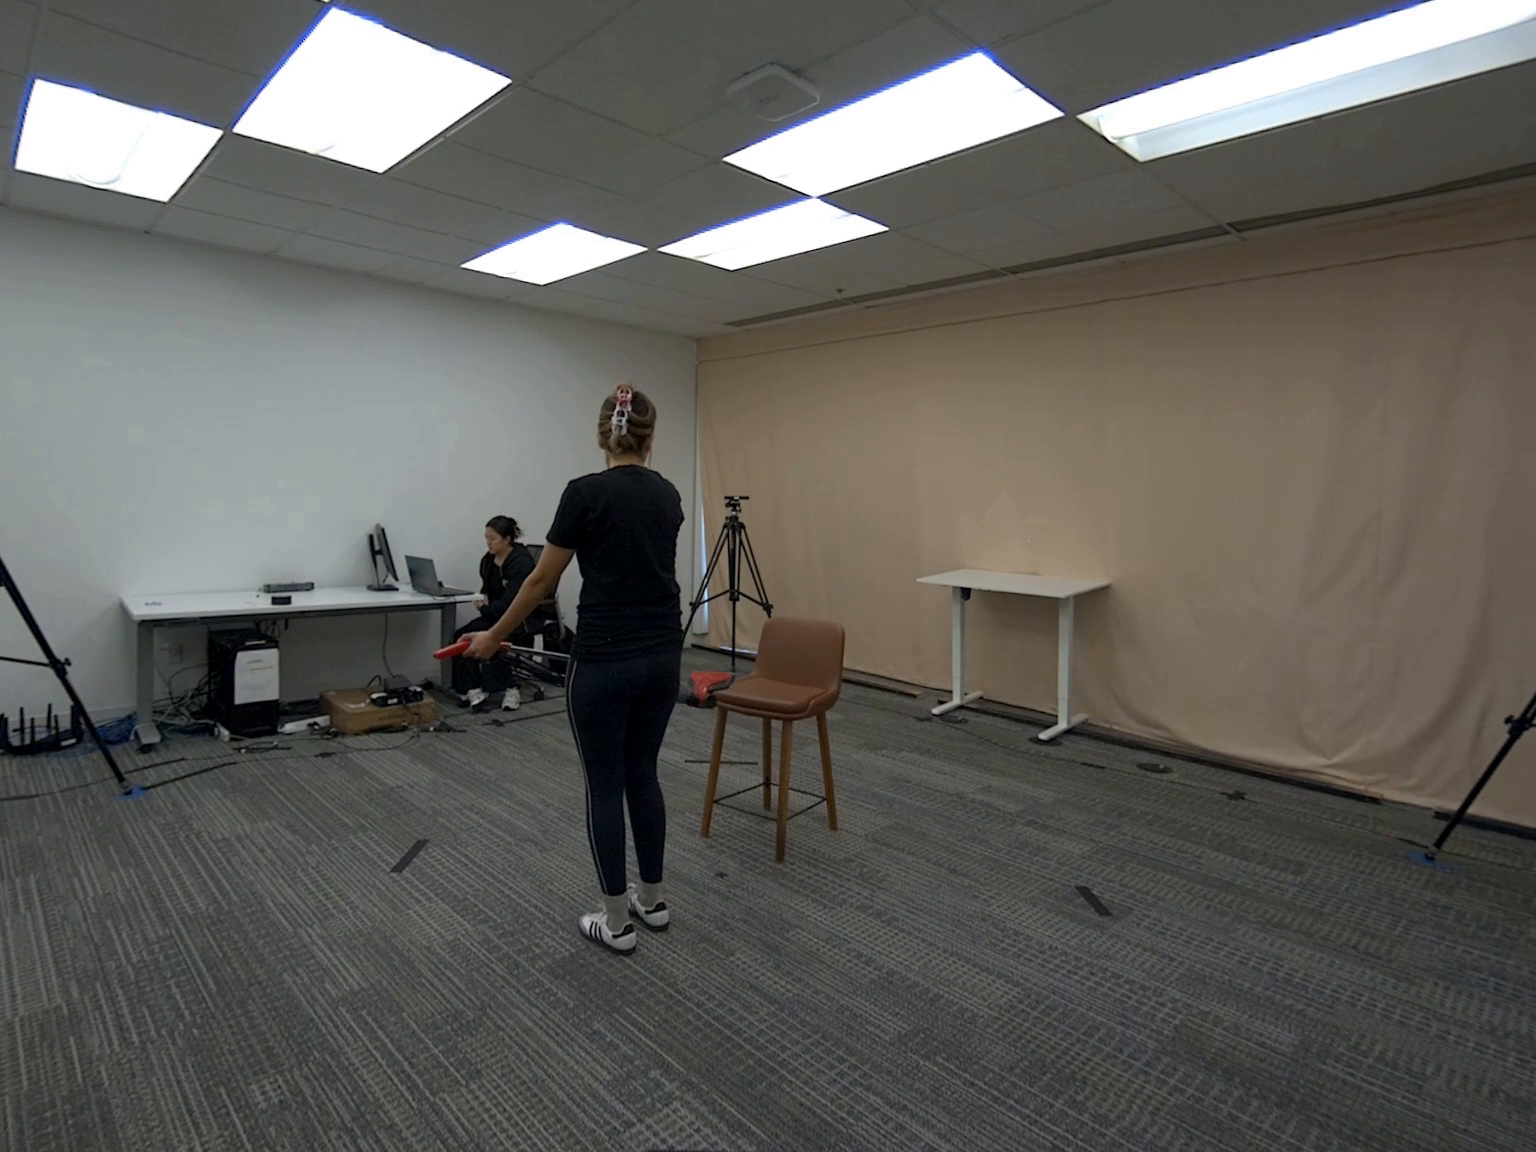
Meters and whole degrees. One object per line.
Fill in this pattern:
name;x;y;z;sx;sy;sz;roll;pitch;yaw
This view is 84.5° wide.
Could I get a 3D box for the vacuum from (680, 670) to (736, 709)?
vacuum;-0.623;0.346;2.856;1.021;0.145;0.258;13;-11;-37
